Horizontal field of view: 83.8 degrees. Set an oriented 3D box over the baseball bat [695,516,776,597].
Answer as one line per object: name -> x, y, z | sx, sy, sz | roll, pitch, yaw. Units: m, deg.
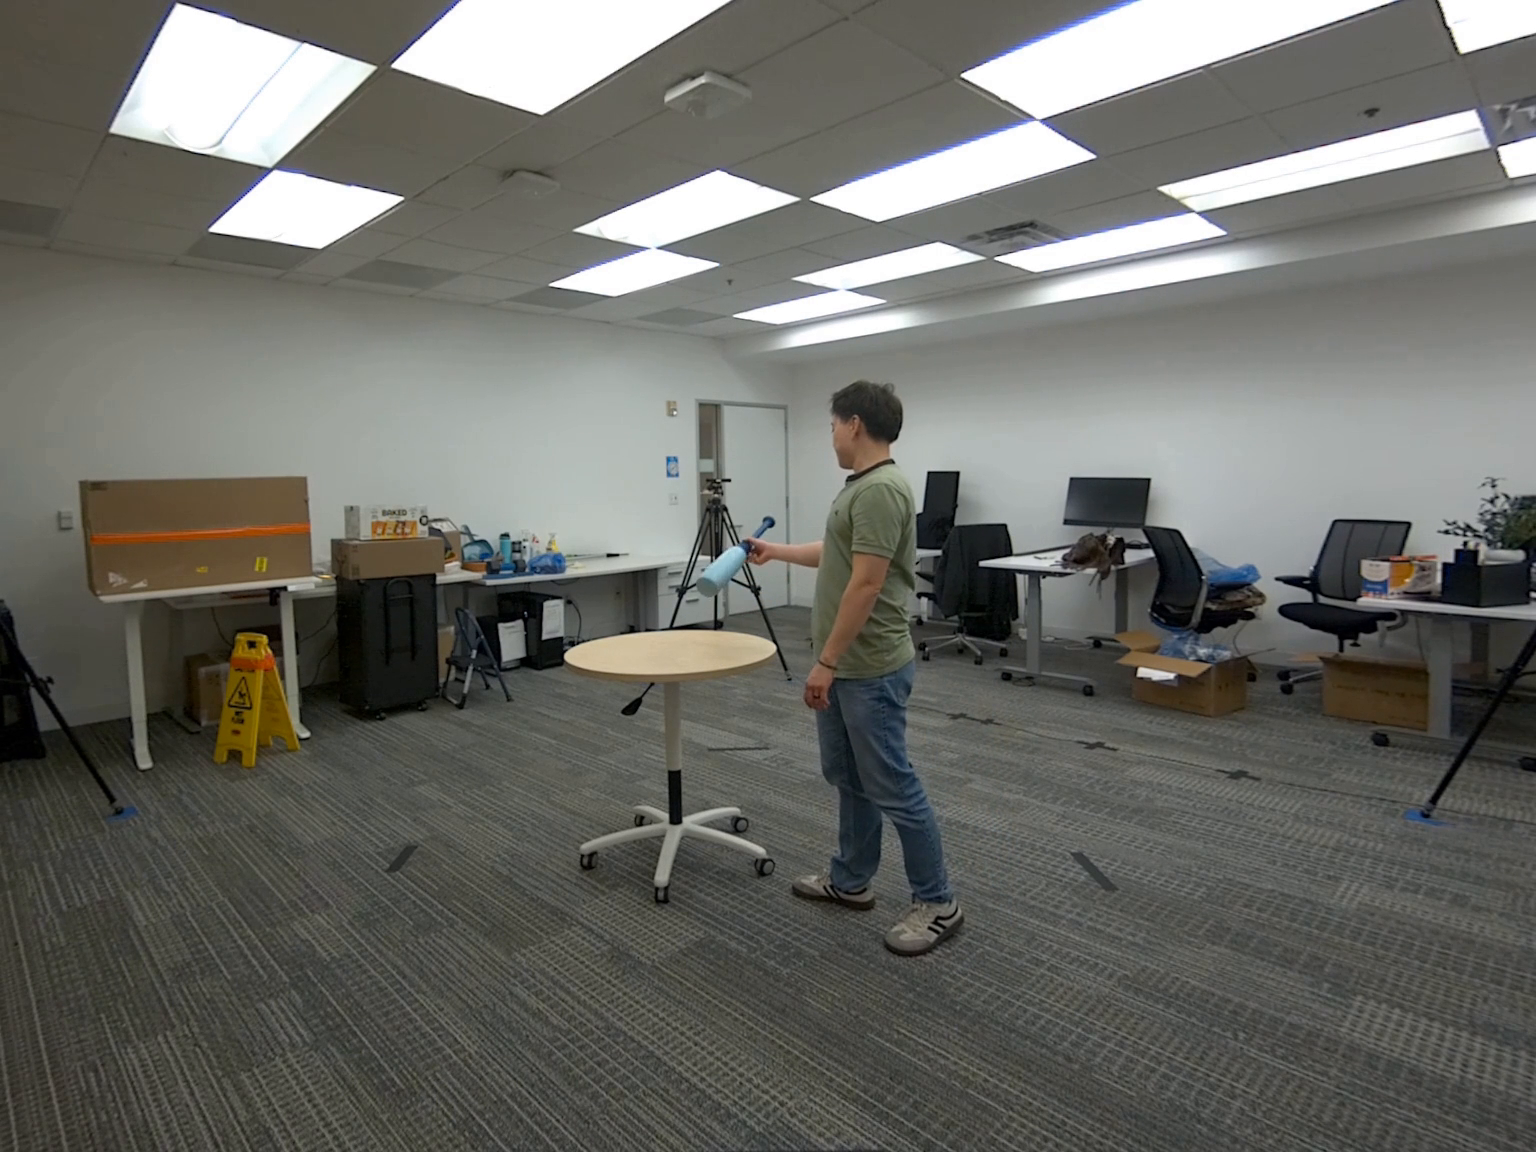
baseball bat -> -0.094, -0.078, 3.103 | 0.091, 0.087, 0.543 | 1, 29, 26
